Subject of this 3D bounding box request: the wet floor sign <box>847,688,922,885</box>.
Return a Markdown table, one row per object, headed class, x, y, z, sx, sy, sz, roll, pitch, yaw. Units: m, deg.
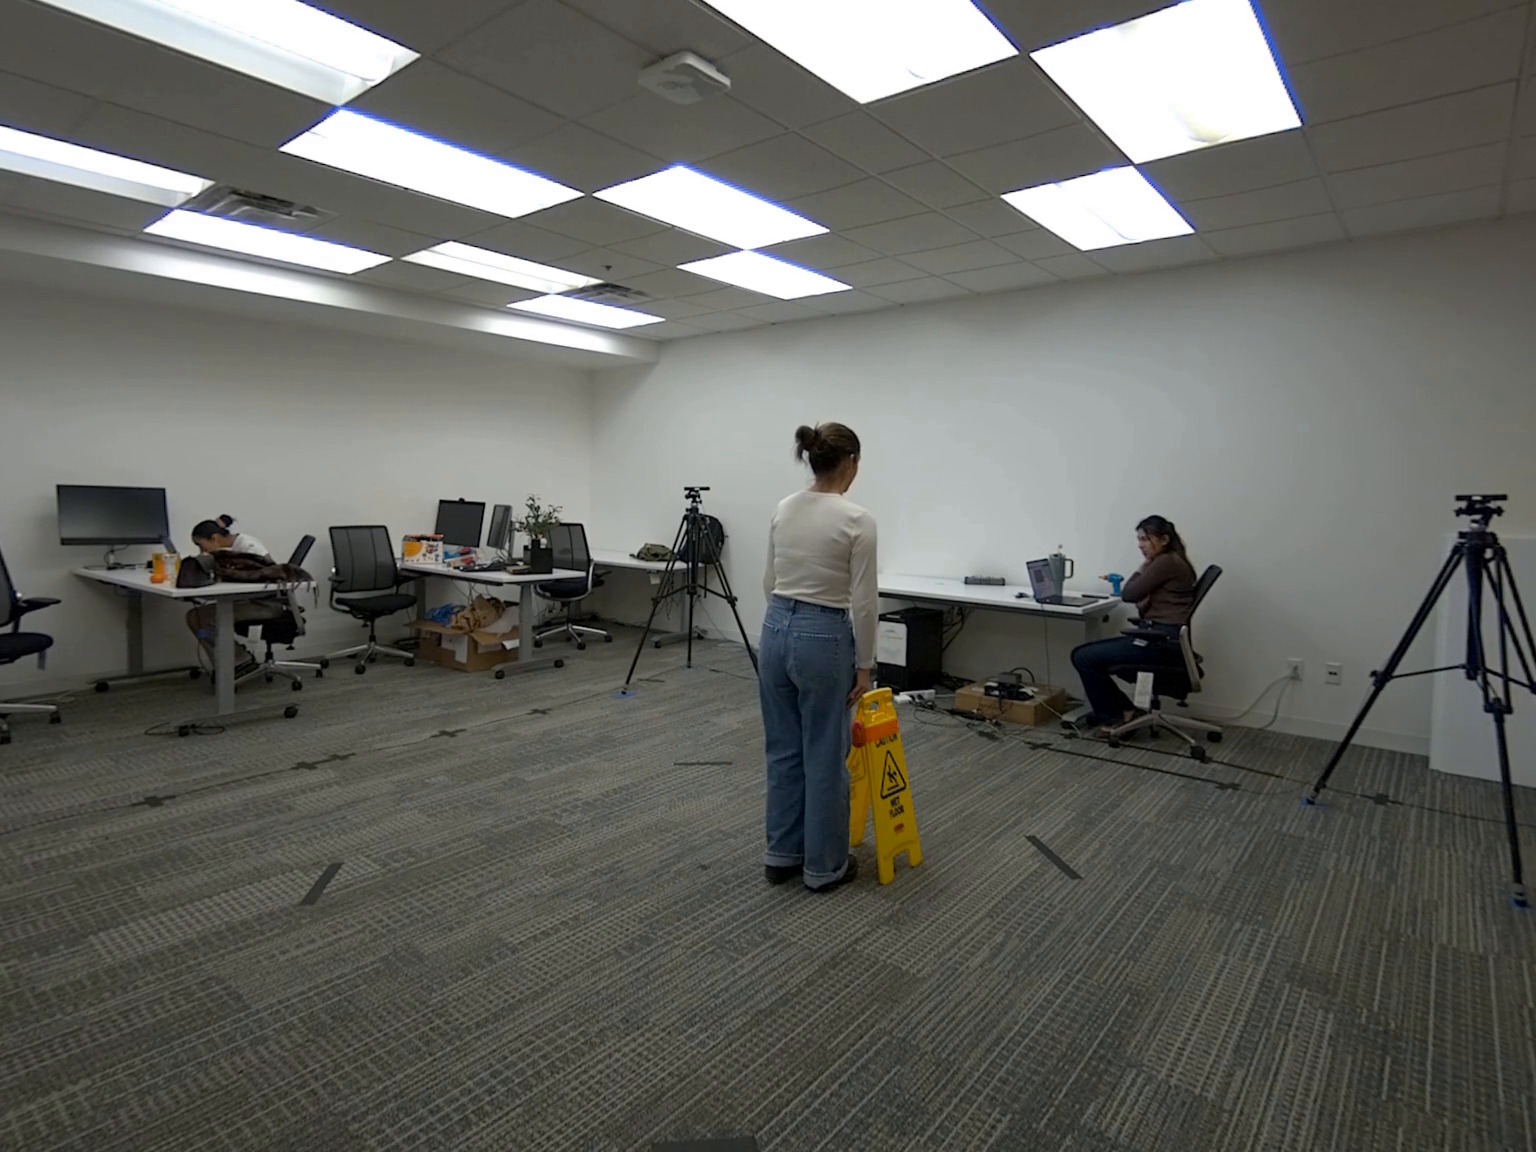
| class | x | y | z | sx | sy | sz | roll | pitch | yaw |
| --- | --- | --- | --- | --- | --- | --- | --- | --- | --- |
| wet floor sign | 0.385 | 0.747 | 3.179 | 0.299 | 0.645 | 0.273 | 3 | 3 | 40 |
